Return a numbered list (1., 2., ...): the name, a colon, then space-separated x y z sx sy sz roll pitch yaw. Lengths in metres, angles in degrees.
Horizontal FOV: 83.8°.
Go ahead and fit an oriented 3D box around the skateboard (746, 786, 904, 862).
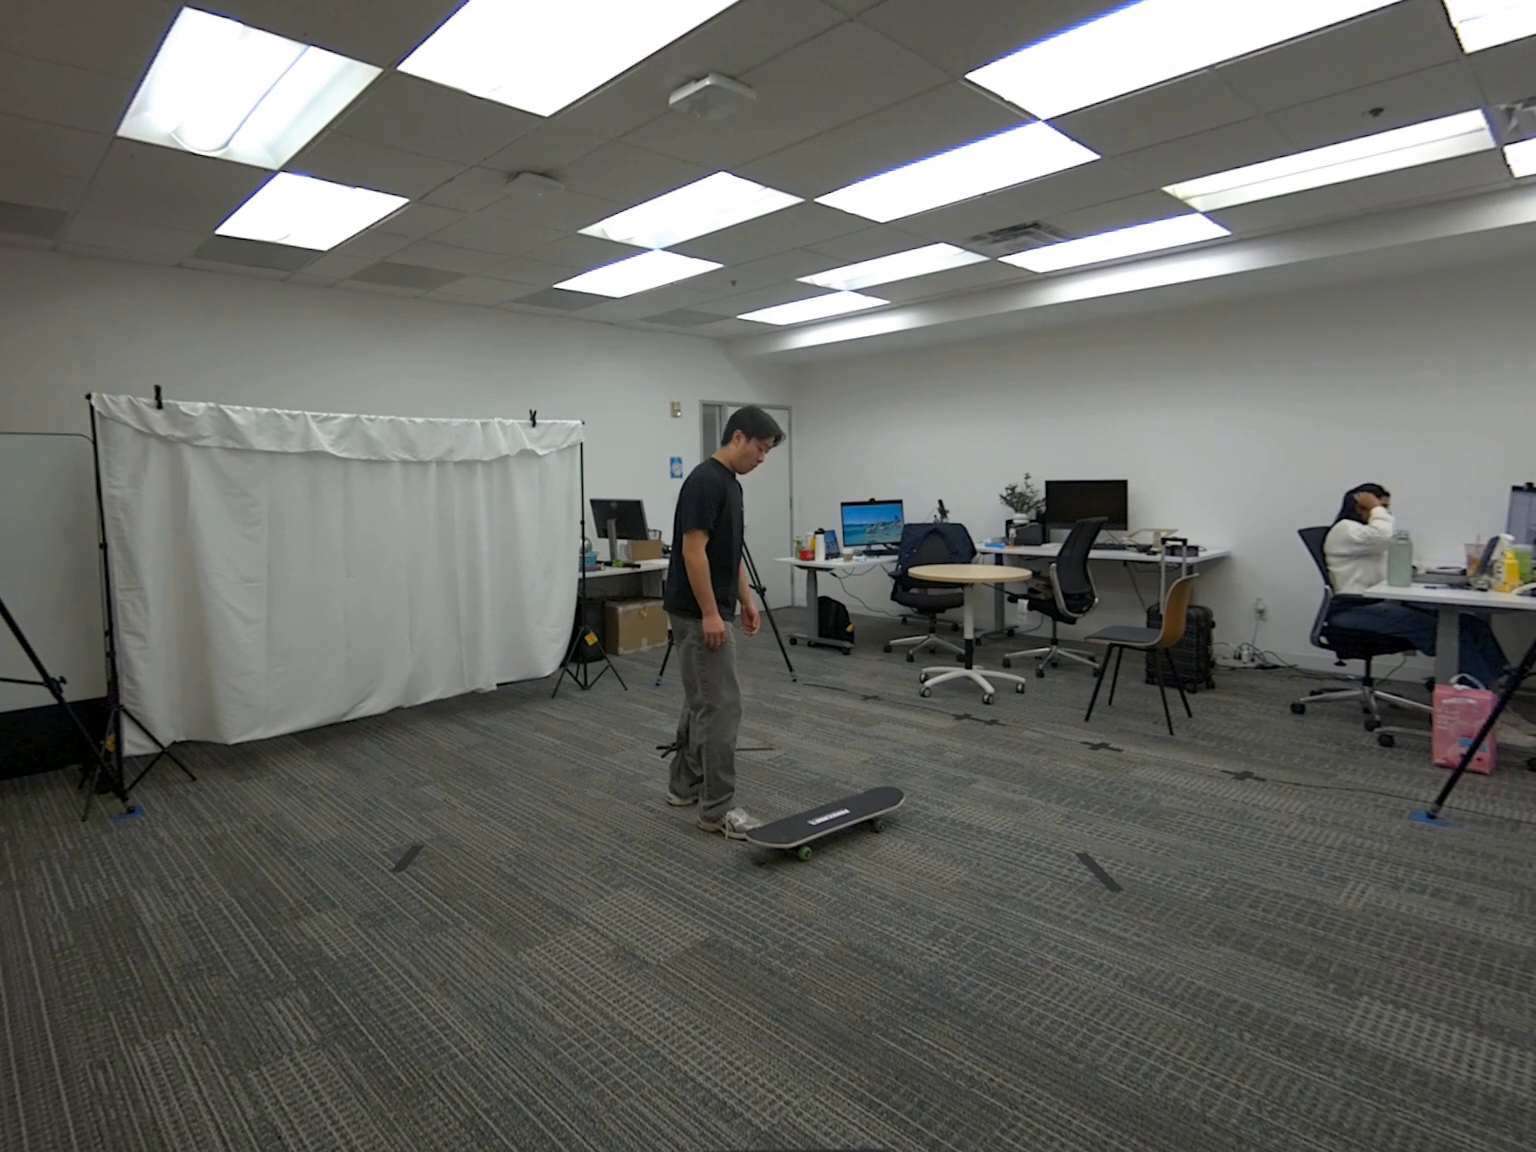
1. skateboard: 0.238 0.960 3.313 0.765 0.110 0.199 -6 7 -39
